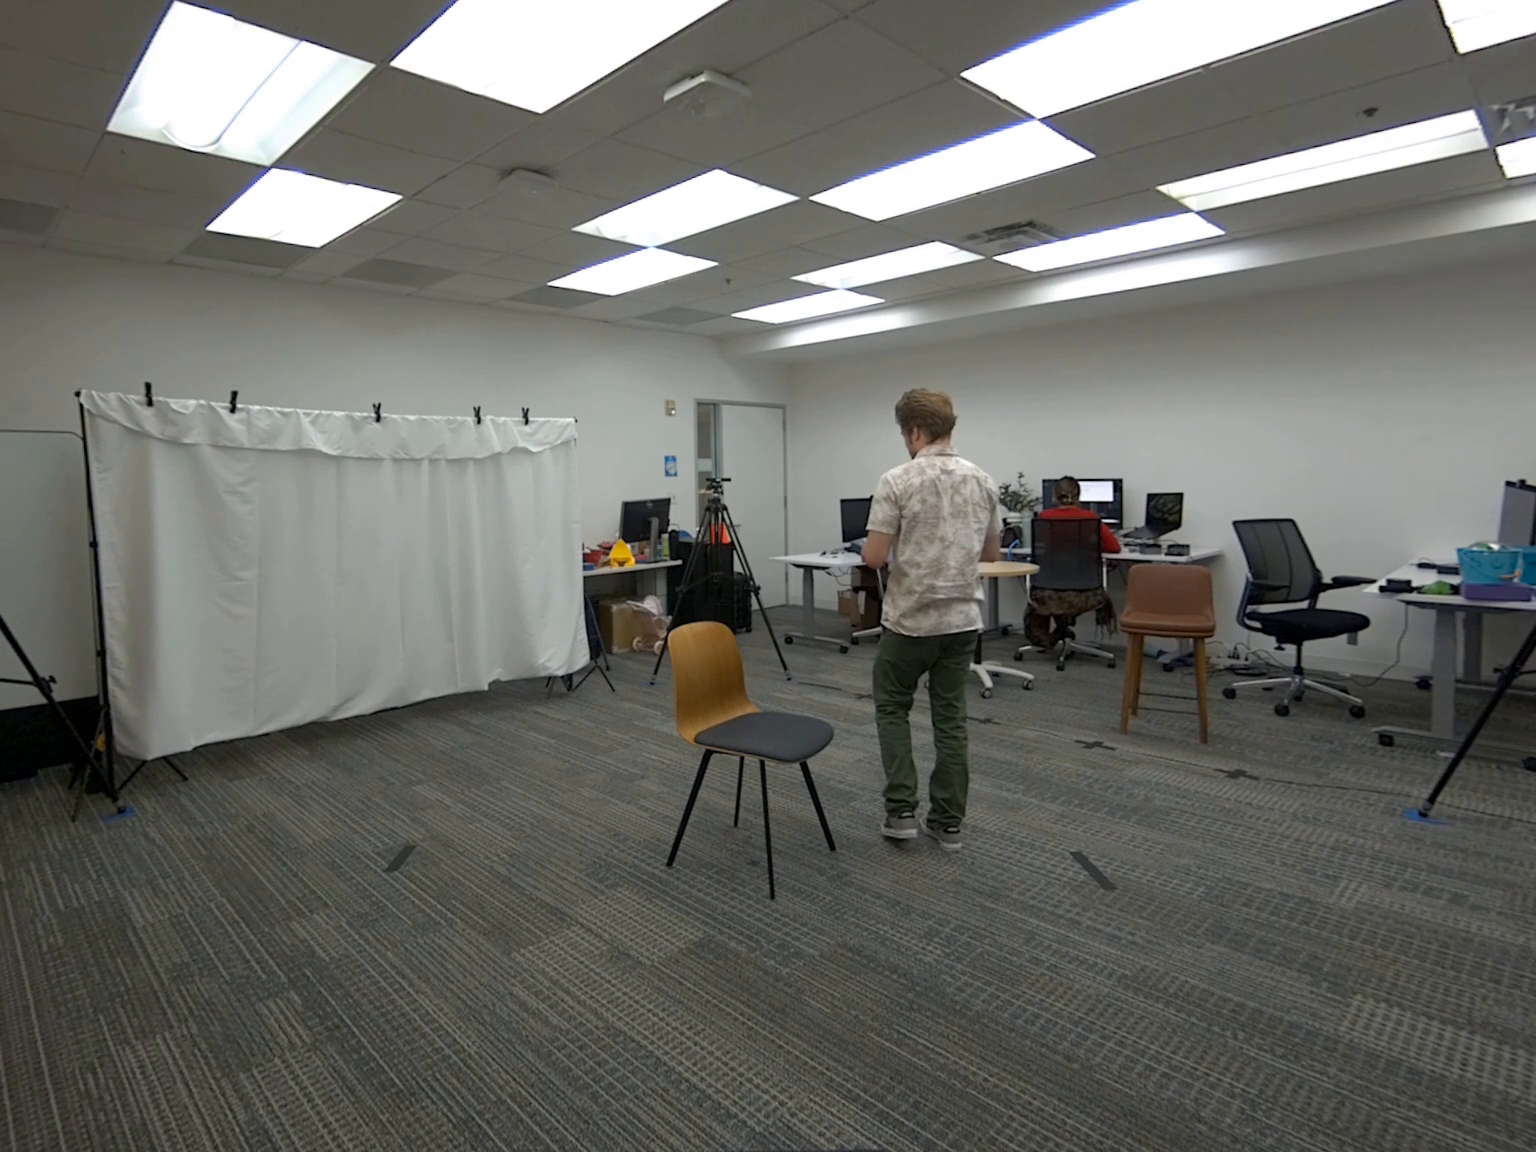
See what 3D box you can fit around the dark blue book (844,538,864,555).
[{"bbox_3d":[0.473,-0.103,3.494,0.161,0.044,0.253,-11,25,-17],"label":"dark blue book"}]
